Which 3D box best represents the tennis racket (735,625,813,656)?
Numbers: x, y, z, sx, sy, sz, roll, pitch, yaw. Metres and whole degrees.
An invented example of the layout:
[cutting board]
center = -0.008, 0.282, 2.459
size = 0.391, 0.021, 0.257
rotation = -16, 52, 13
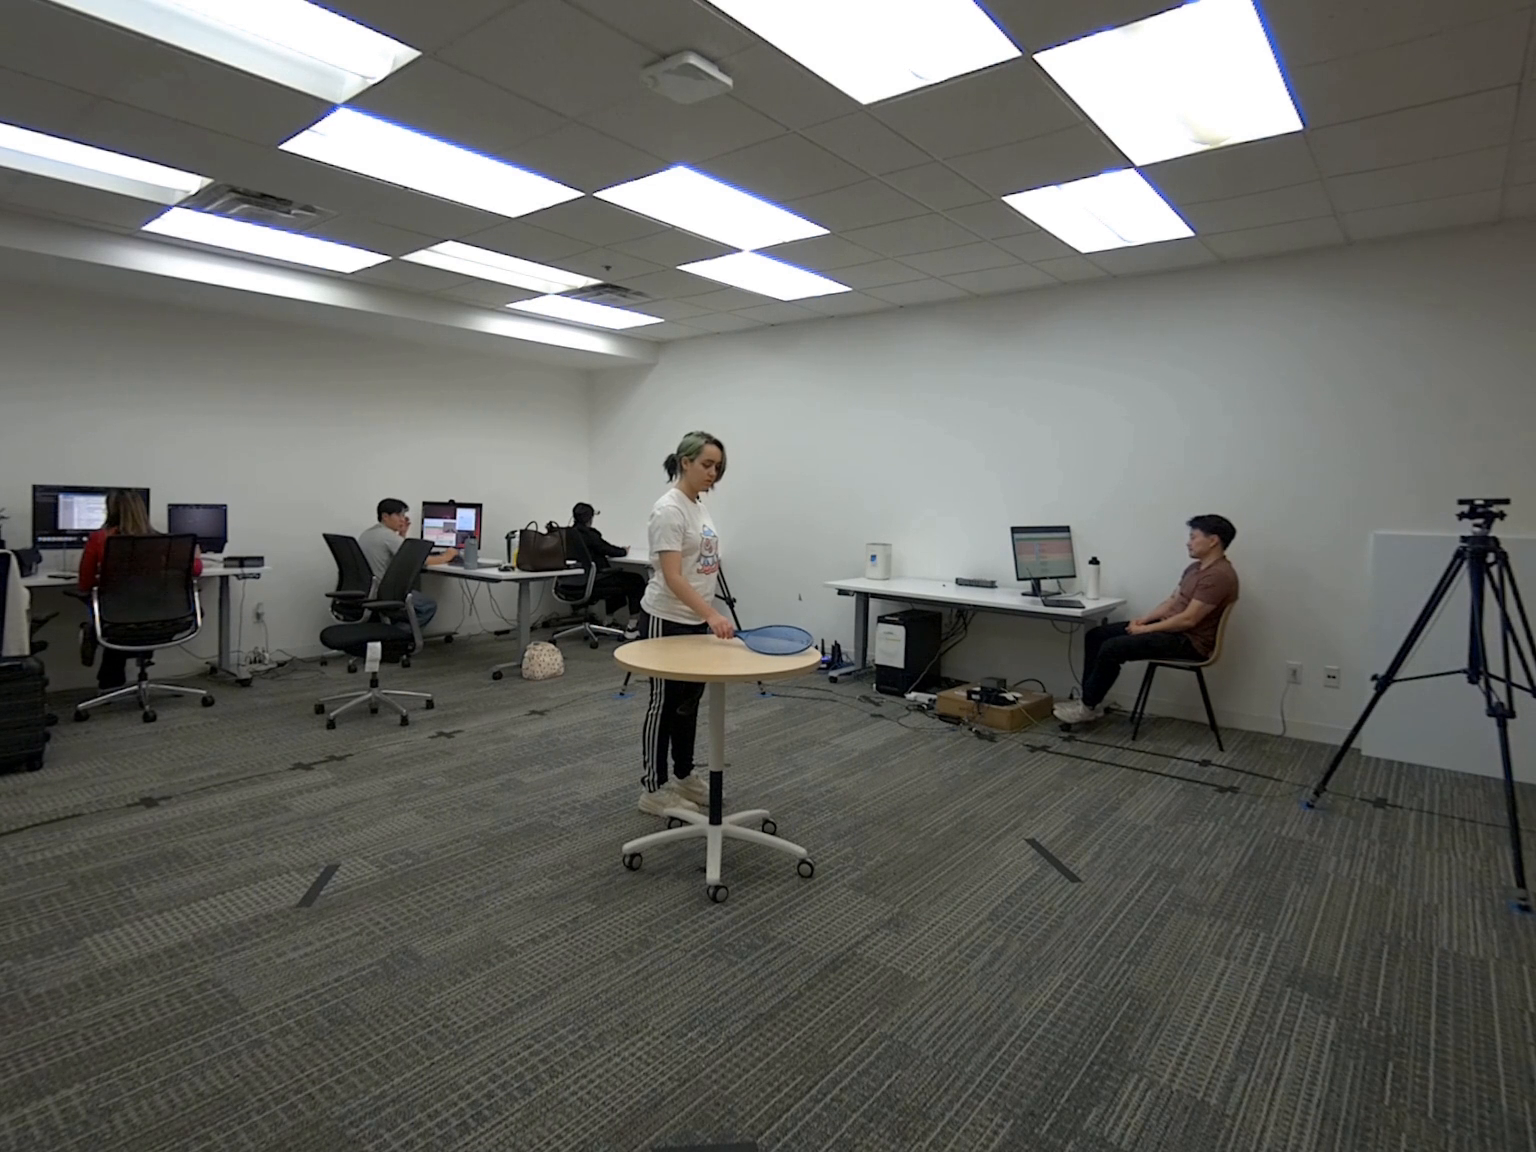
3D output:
[tennis racket]
center = -0.039, 0.234, 3.237
size = 0.446, 0.031, 0.212
rotation = 7, 26, 30
